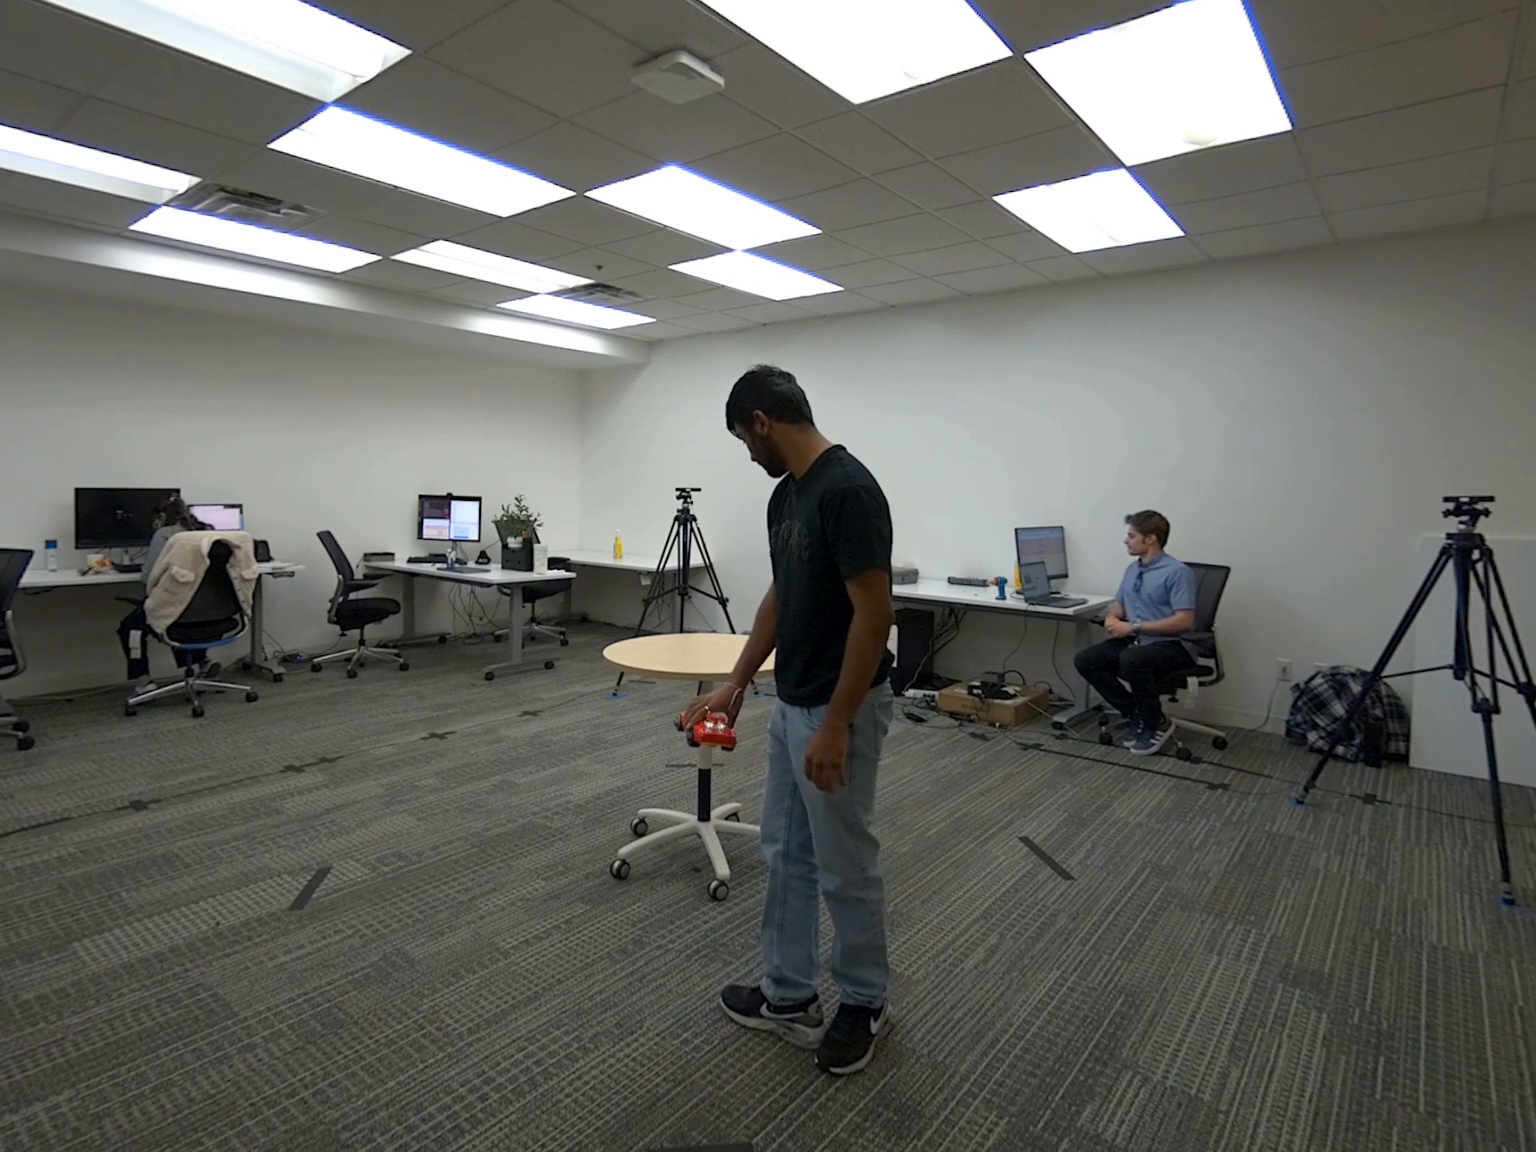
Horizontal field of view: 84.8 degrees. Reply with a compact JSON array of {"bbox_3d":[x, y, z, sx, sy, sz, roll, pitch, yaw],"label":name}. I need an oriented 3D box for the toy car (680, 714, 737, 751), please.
[{"bbox_3d":[-0.157,0.402,2.162,0.128,0.084,0.258,10,-8,-18],"label":"toy car"}]
